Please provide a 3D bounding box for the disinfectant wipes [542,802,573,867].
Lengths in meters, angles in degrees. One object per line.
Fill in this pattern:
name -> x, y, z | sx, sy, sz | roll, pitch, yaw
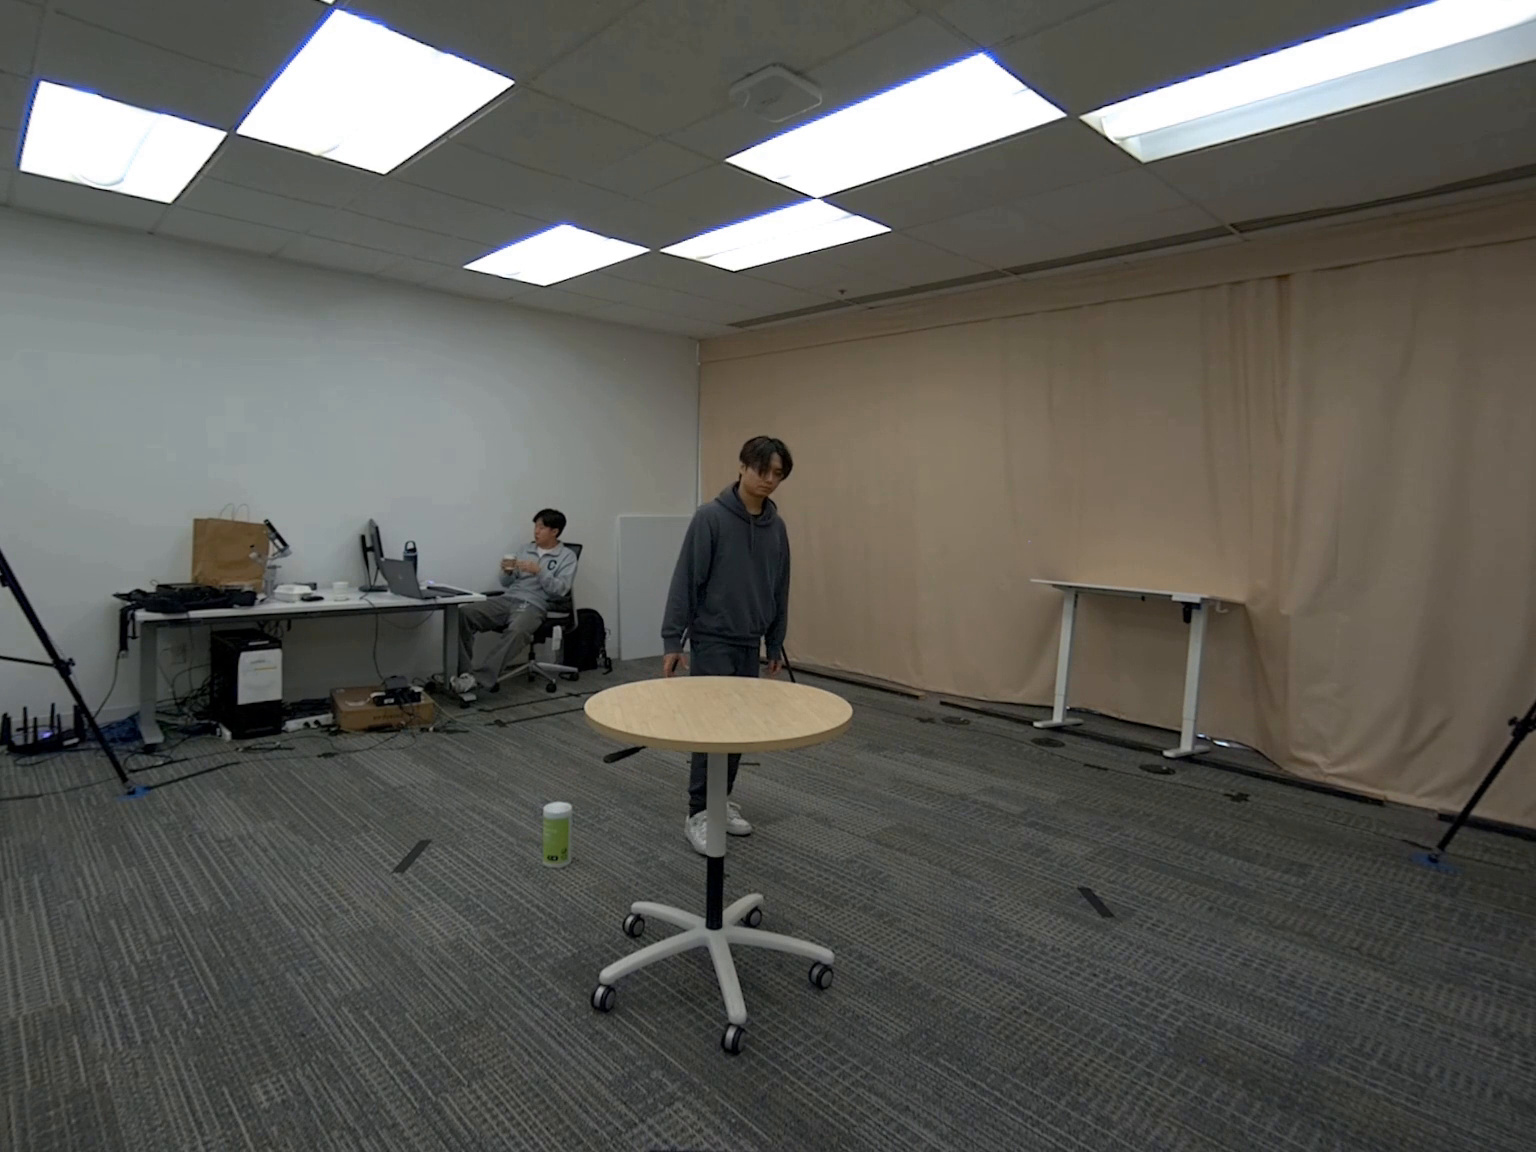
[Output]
disinfectant wipes -> -0.802, 0.976, 3.177 | 0.118, 0.217, 0.118 | 1, 3, -1
